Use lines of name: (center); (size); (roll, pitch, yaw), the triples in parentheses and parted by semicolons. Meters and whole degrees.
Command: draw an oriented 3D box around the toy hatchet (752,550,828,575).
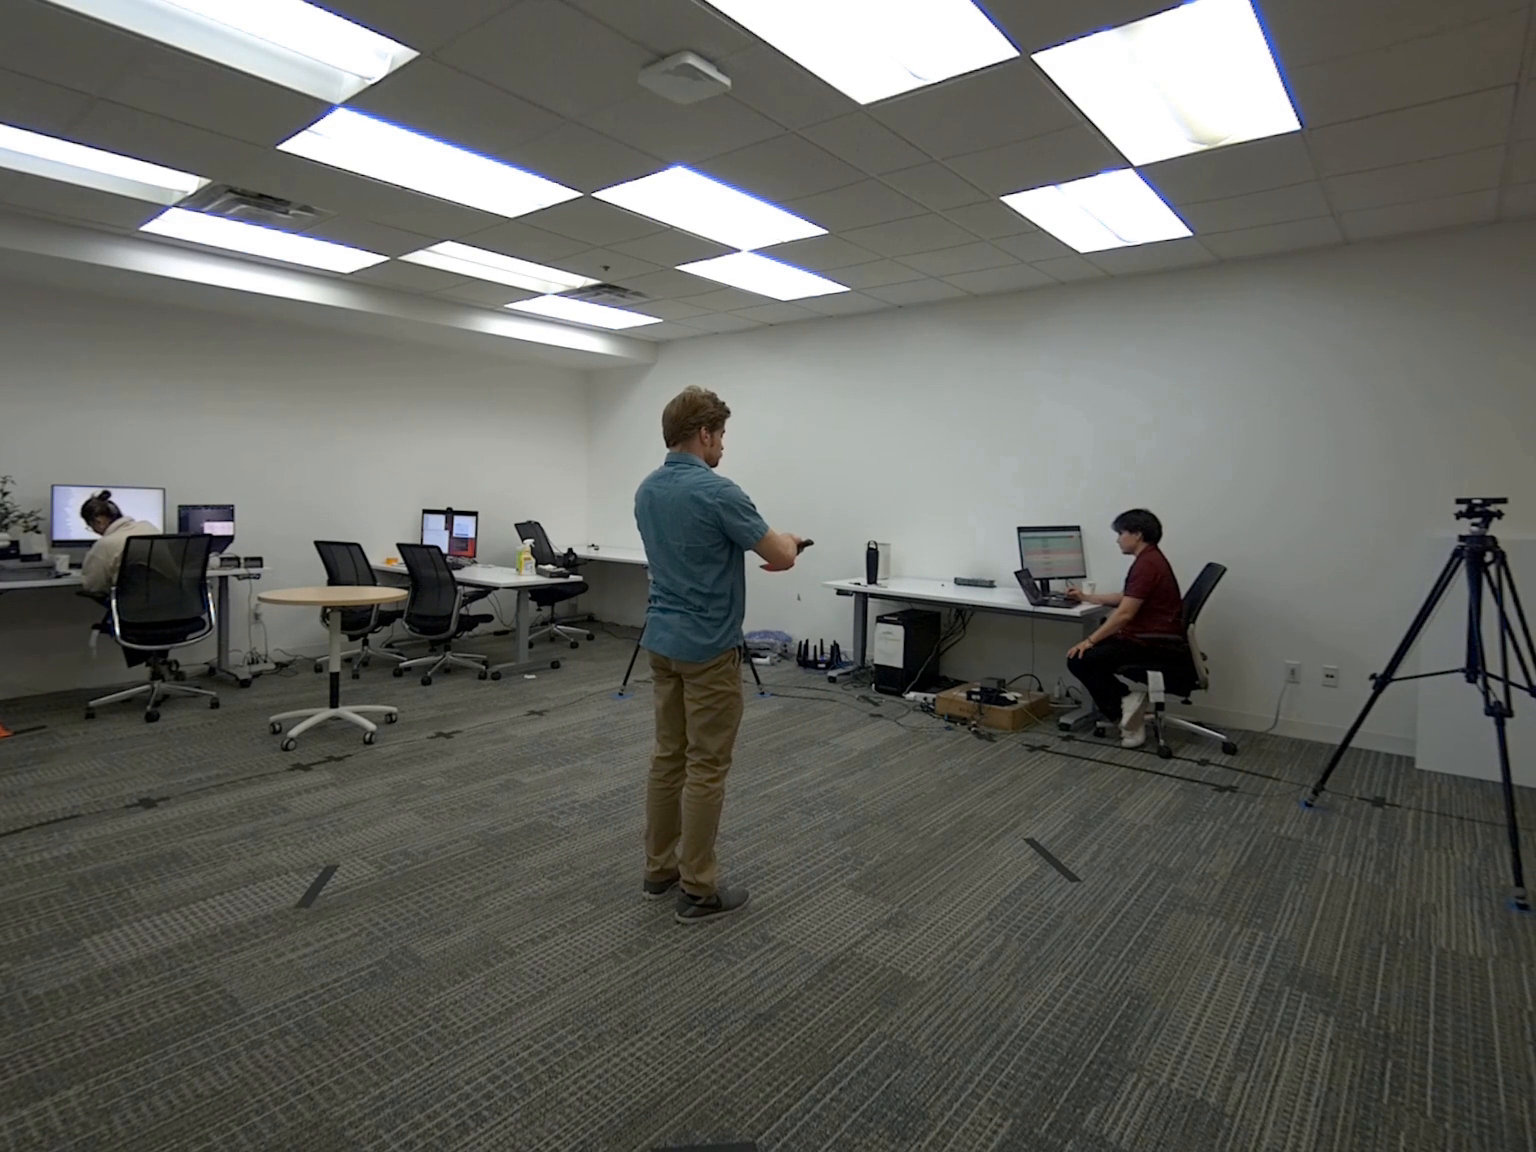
toy hatchet: (0.077, -0.050, 3.115); (0.126, 0.030, 0.276); (7, -13, -39)
